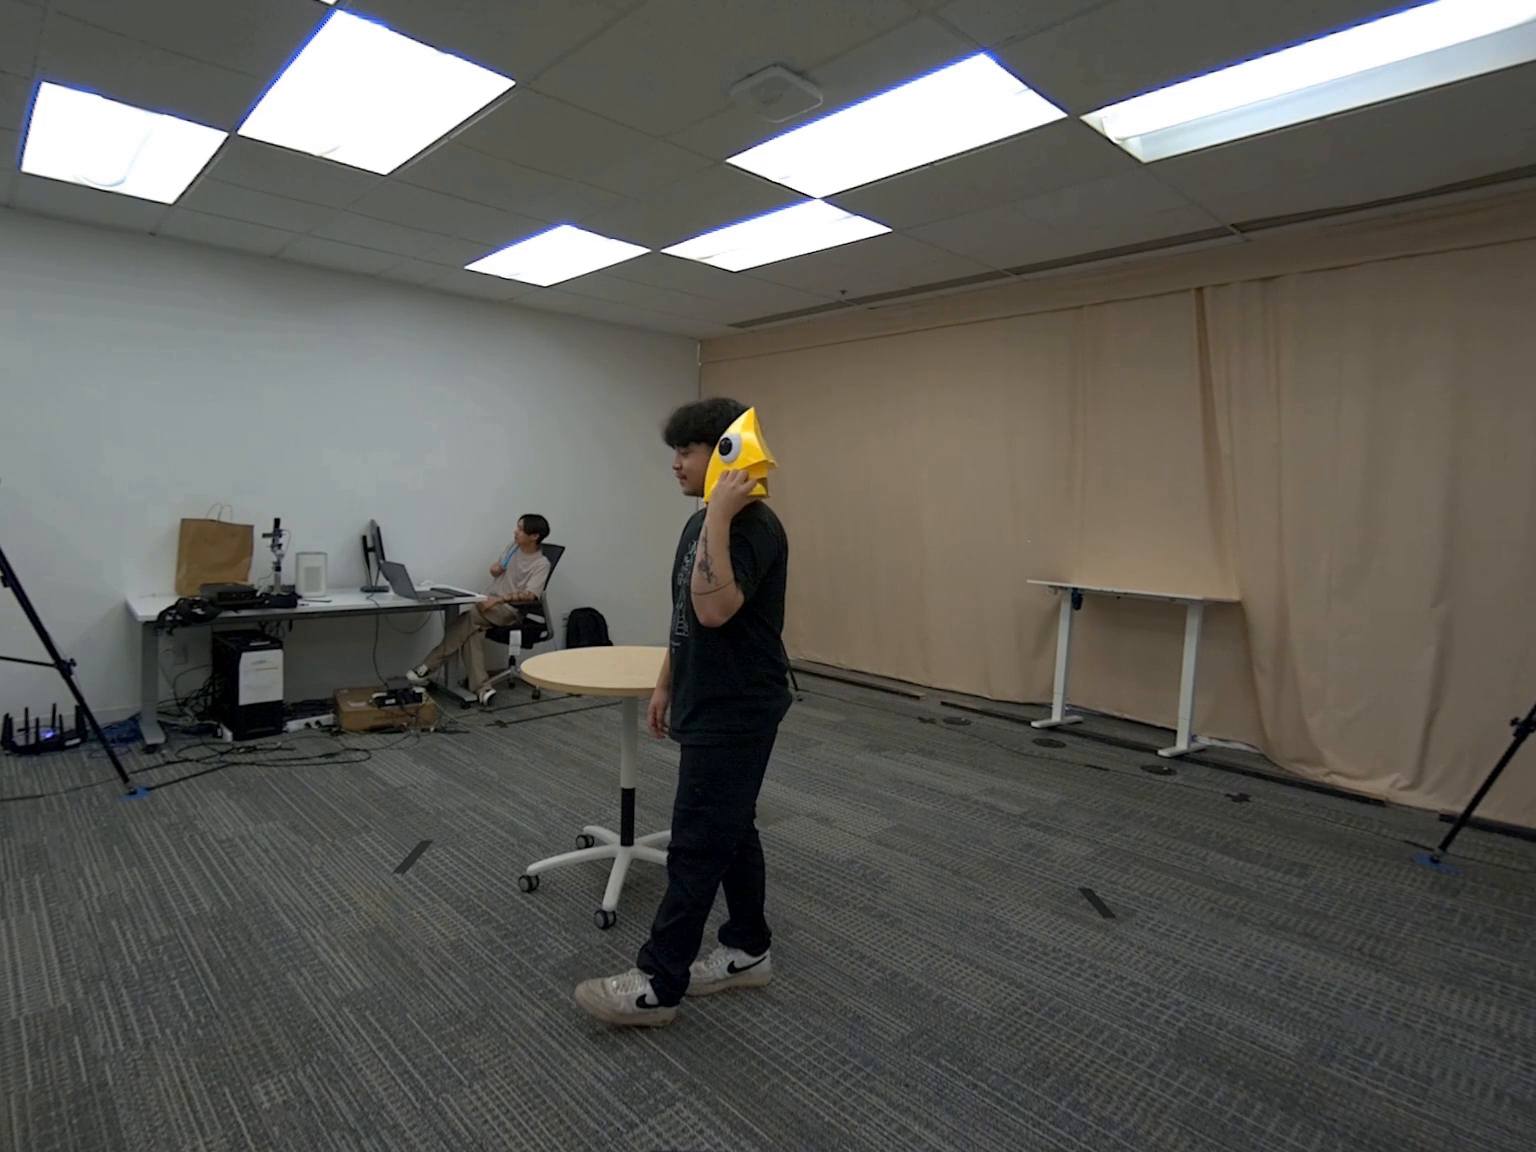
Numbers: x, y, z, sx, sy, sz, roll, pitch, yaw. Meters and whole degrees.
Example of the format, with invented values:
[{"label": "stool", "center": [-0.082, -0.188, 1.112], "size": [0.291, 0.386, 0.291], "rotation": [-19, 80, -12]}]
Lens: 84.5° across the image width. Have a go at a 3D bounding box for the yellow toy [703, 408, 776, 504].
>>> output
[{"label": "yellow toy", "center": [-0.097, -0.309, 2.158], "size": [0.194, 0.231, 0.203], "rotation": [-9, -1, 10]}]
